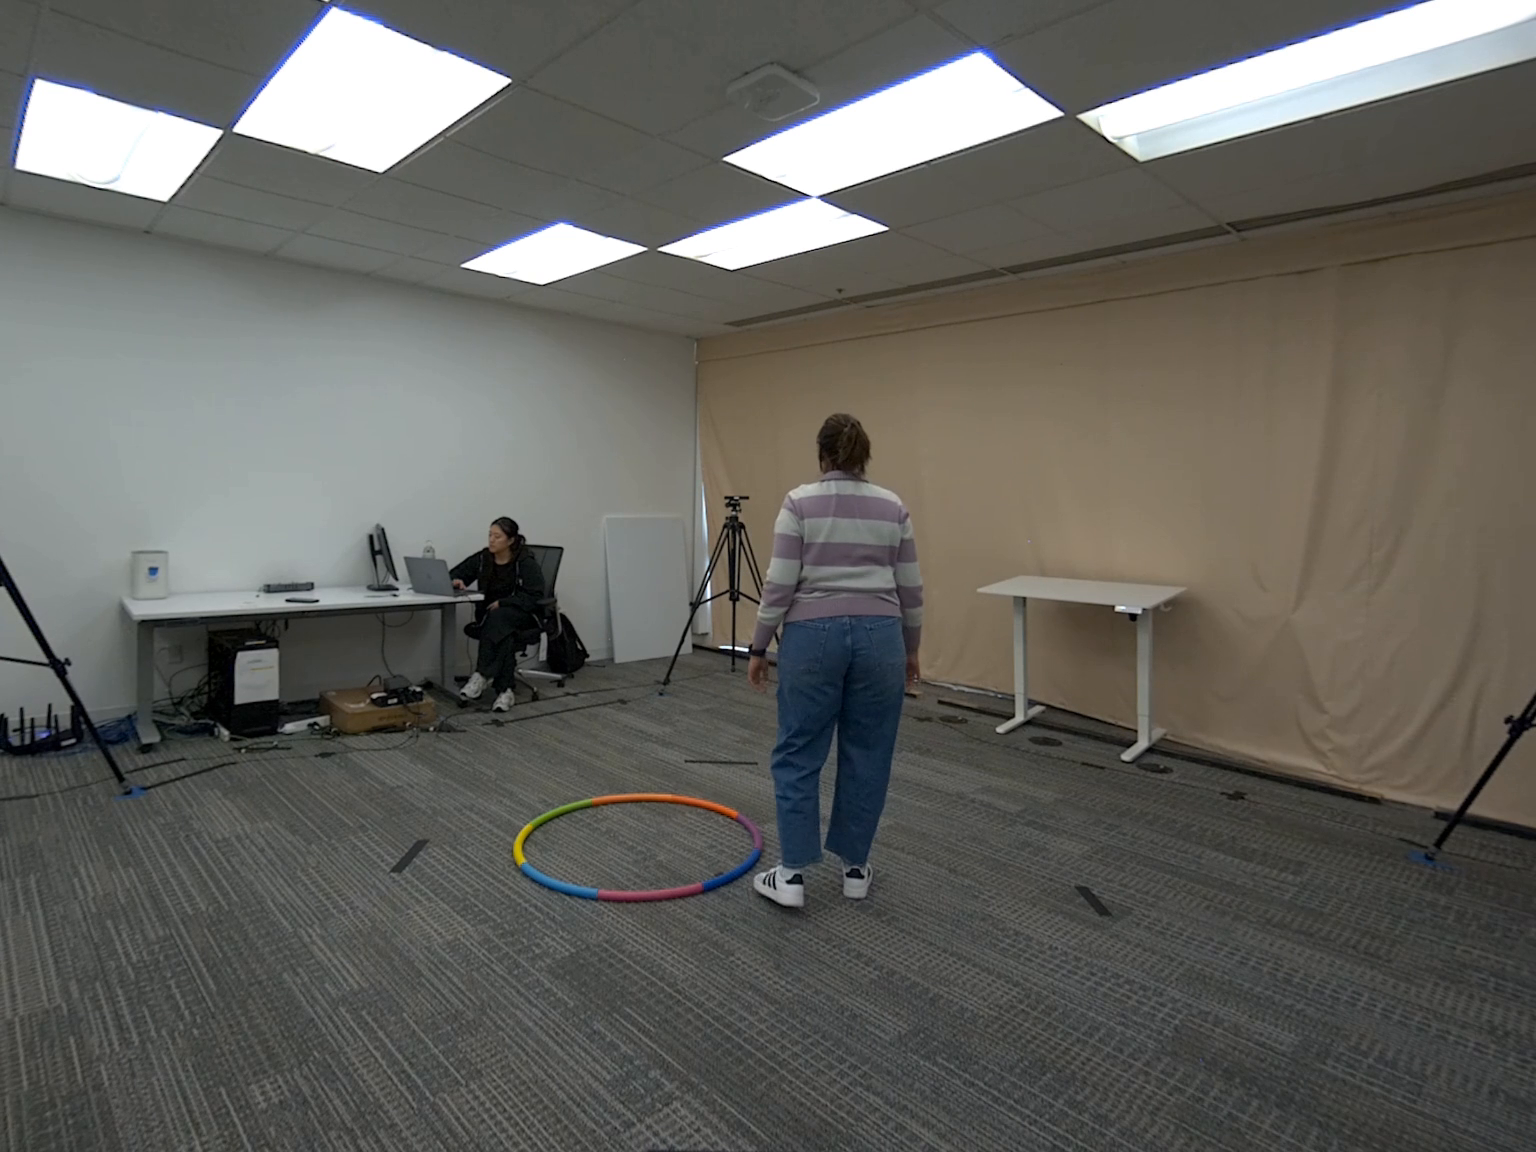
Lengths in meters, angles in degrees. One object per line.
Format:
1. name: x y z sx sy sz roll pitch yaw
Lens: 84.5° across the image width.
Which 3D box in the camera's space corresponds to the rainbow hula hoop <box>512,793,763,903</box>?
1. rainbow hula hoop: -0.517 1.043 3.367 0.978 0.035 0.982 1 5 -1
